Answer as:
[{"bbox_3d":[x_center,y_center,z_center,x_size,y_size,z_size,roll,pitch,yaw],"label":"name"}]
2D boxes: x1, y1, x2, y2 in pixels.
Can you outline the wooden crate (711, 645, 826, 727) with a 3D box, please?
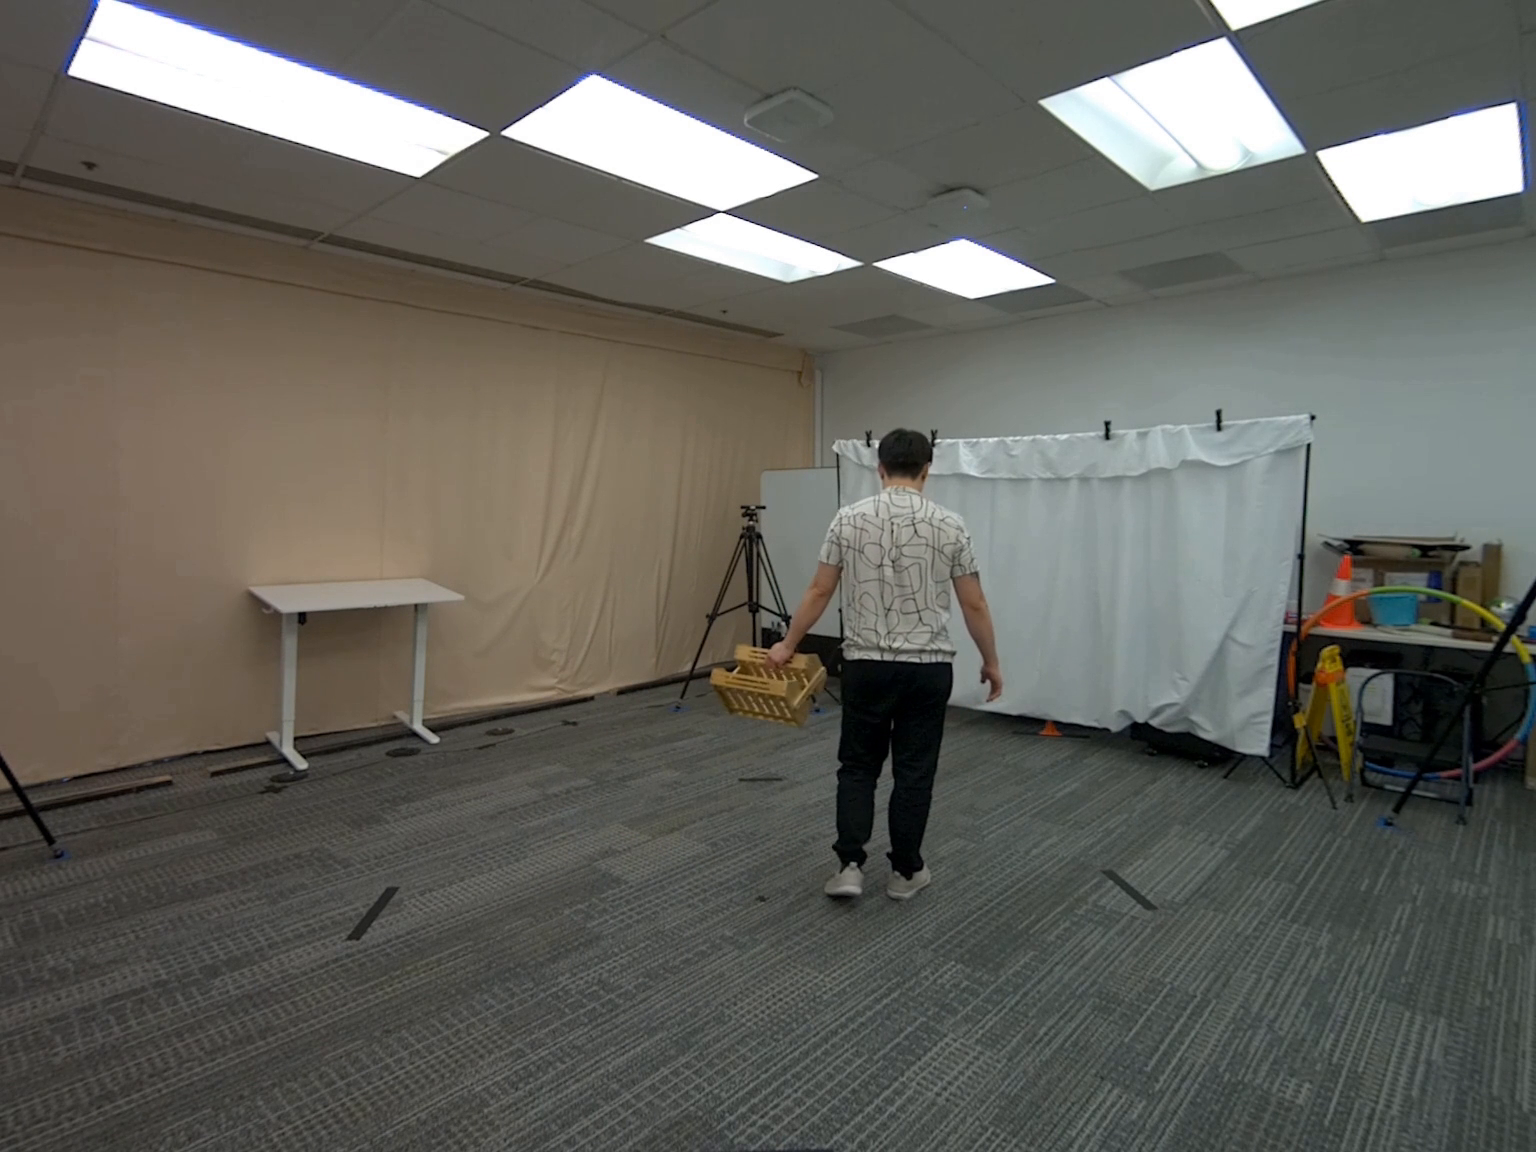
[{"bbox_3d":[0.009,0.376,3.136,0.334,0.274,0.292,6,-36,28],"label":"wooden crate"}]
